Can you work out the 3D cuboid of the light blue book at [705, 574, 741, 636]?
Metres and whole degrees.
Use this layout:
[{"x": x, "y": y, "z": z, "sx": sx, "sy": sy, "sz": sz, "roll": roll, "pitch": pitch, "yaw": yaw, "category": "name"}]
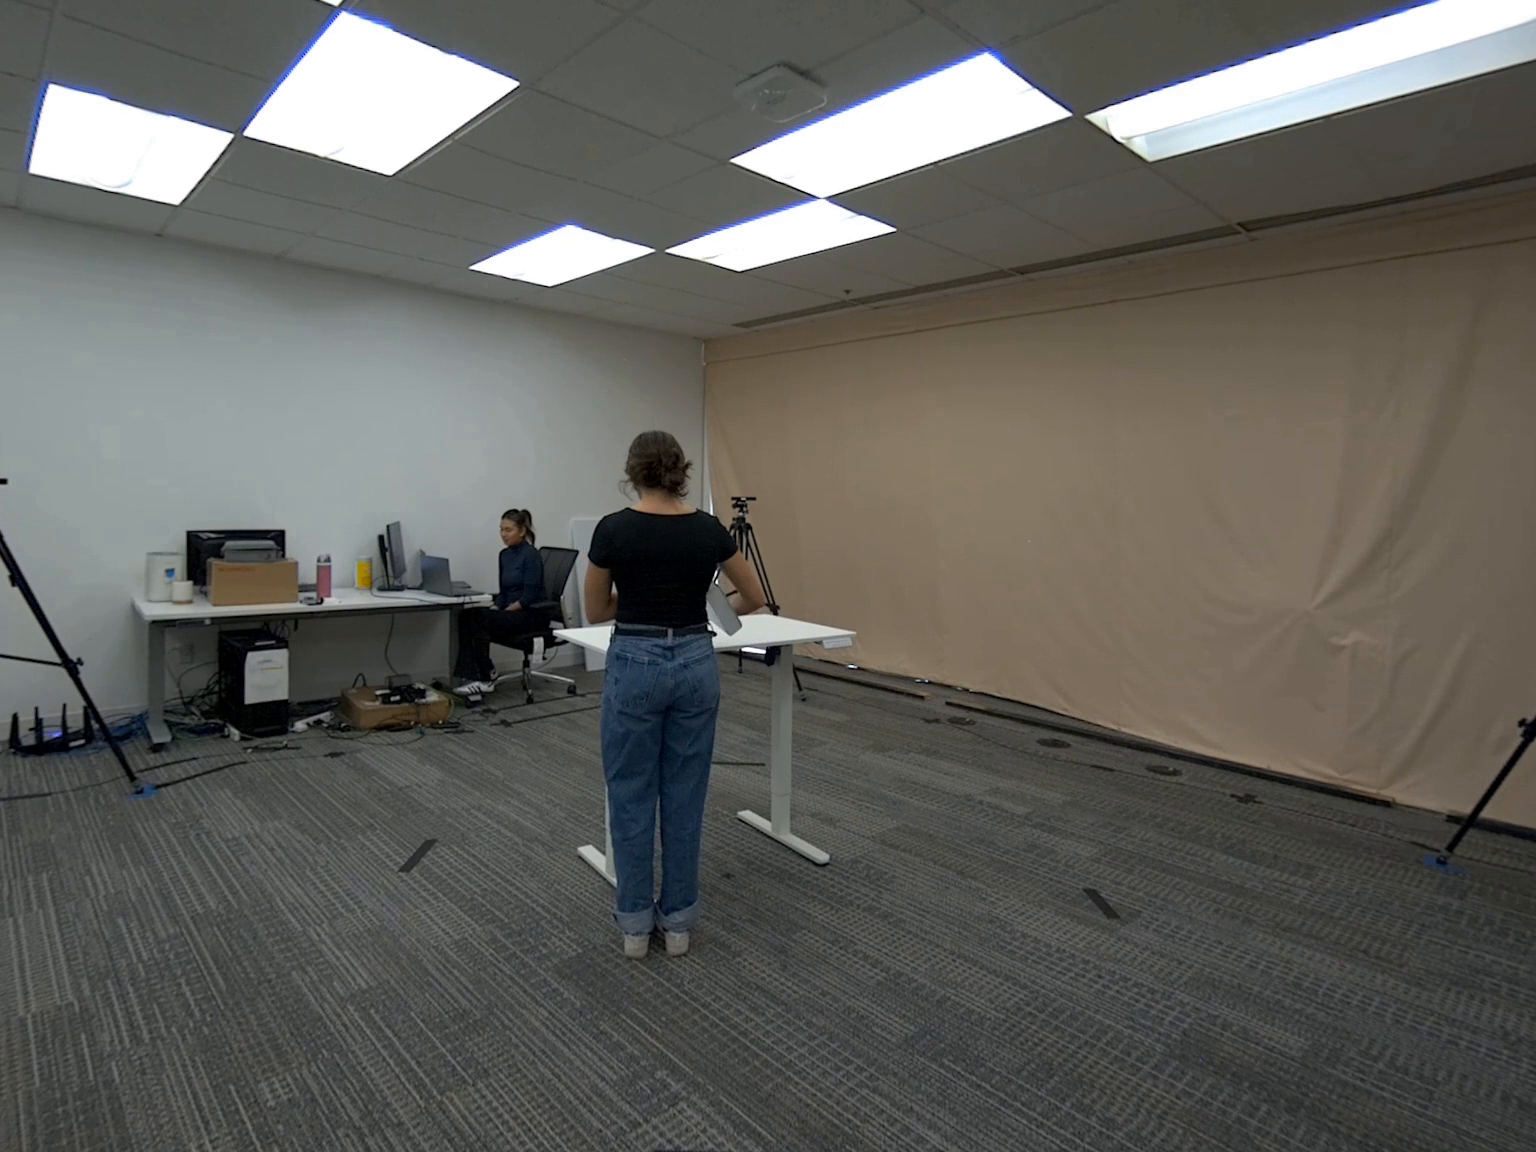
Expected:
[{"x": -0.204, "y": 0.076, "z": 2.773, "sx": 0.059, "sy": 0.187, "sz": 0.267, "roll": -32, "pitch": 22, "yaw": -8, "category": "light blue book"}]
